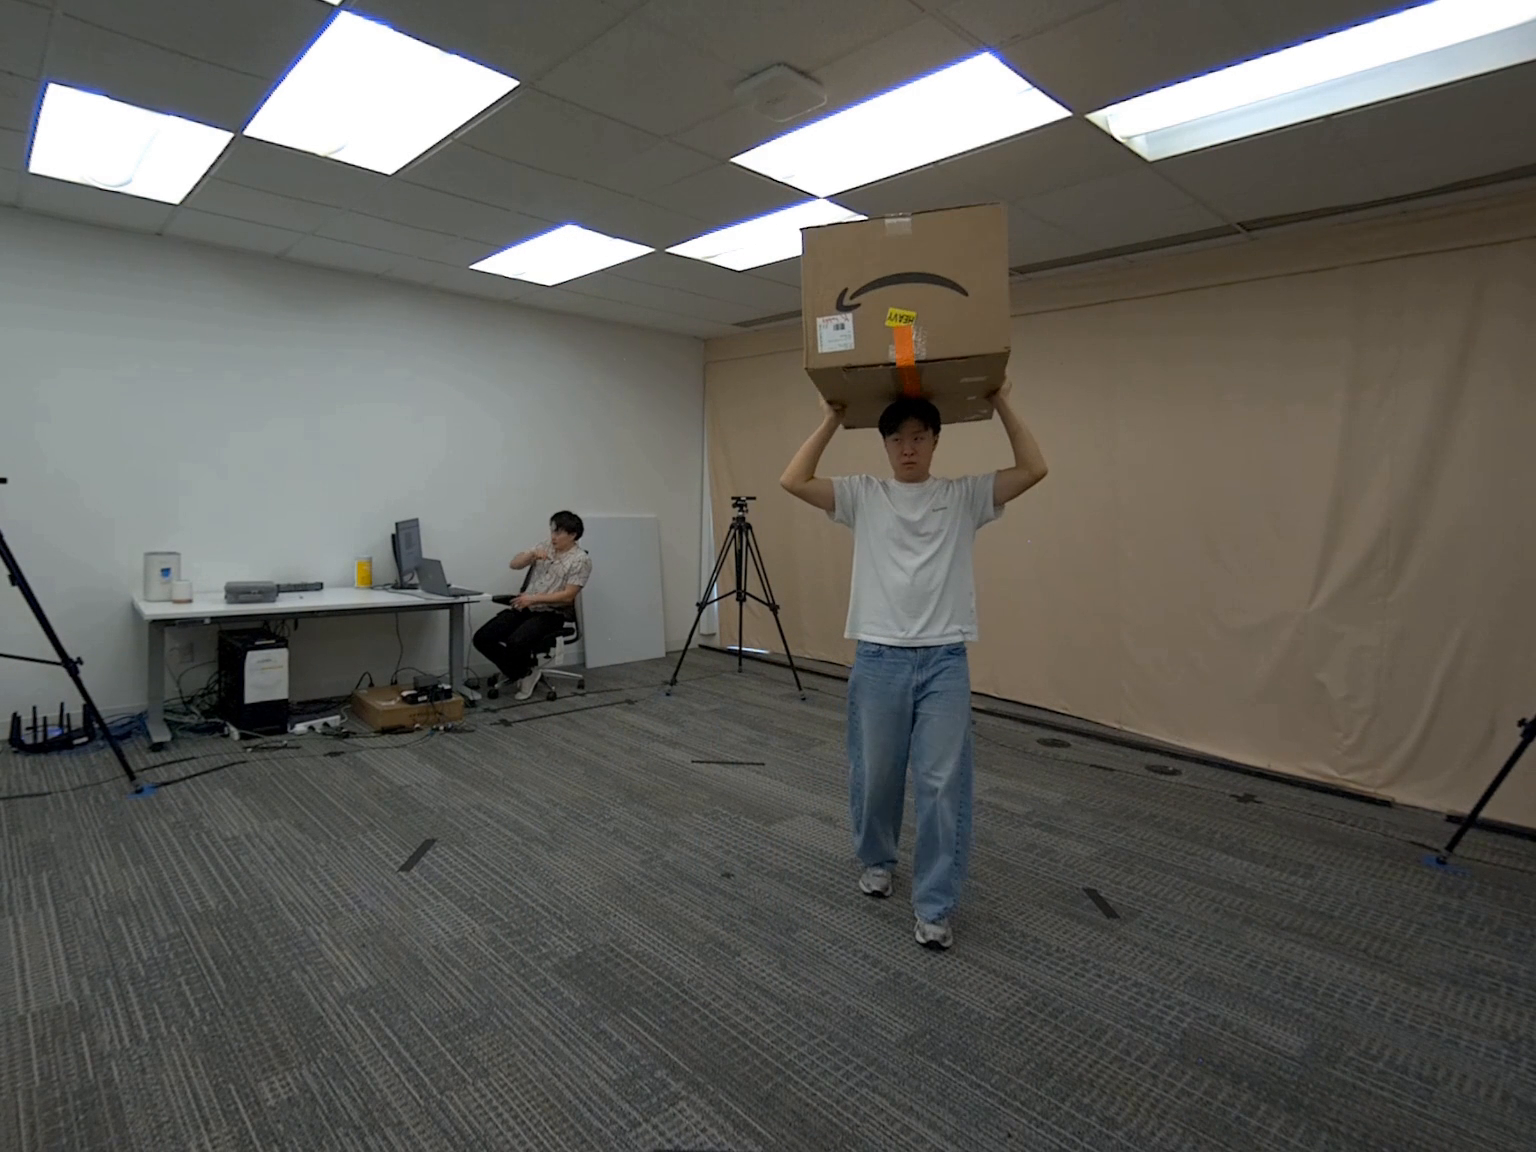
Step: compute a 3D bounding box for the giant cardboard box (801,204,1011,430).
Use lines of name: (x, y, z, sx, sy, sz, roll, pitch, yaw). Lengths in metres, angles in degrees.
giant cardboard box: (0.475, -0.811, 2.862, 0.583, 0.427, 1.014, -2, -1, 13)
